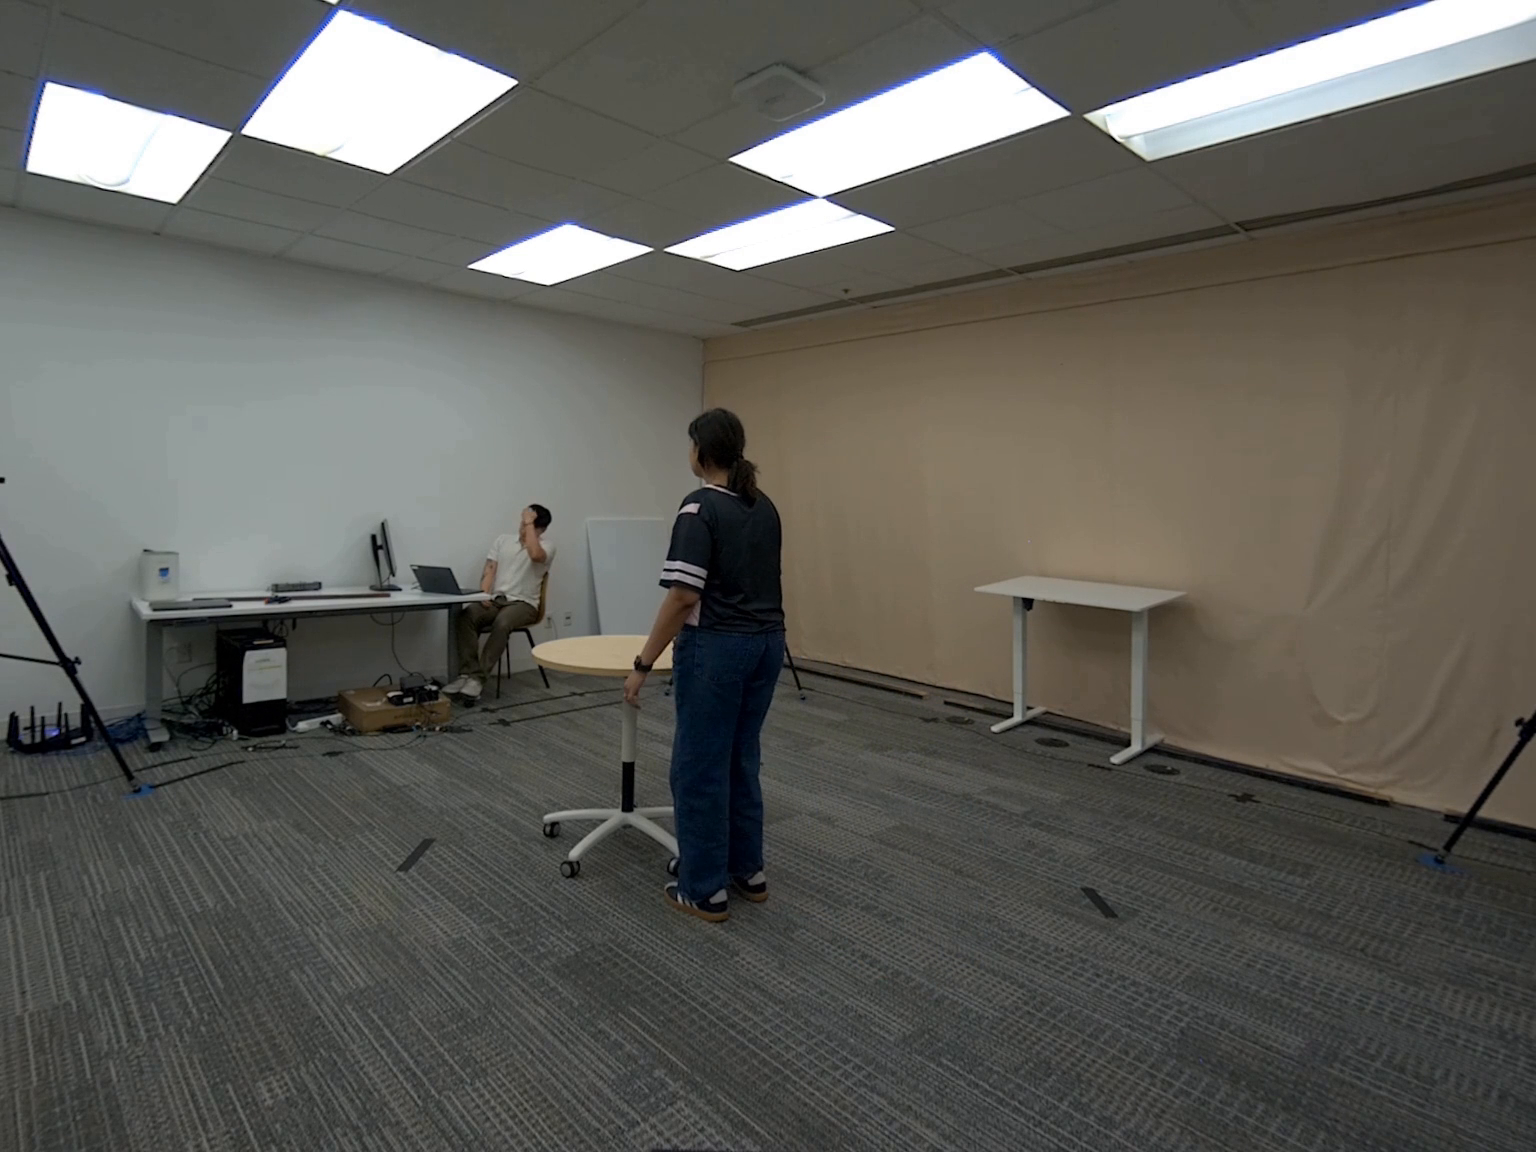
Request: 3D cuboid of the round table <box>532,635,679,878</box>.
[{"bbox_3d":[-0.554,0.682,3.320,0.784,0.785,0.787,1,3,-1],"label":"round table"}]
